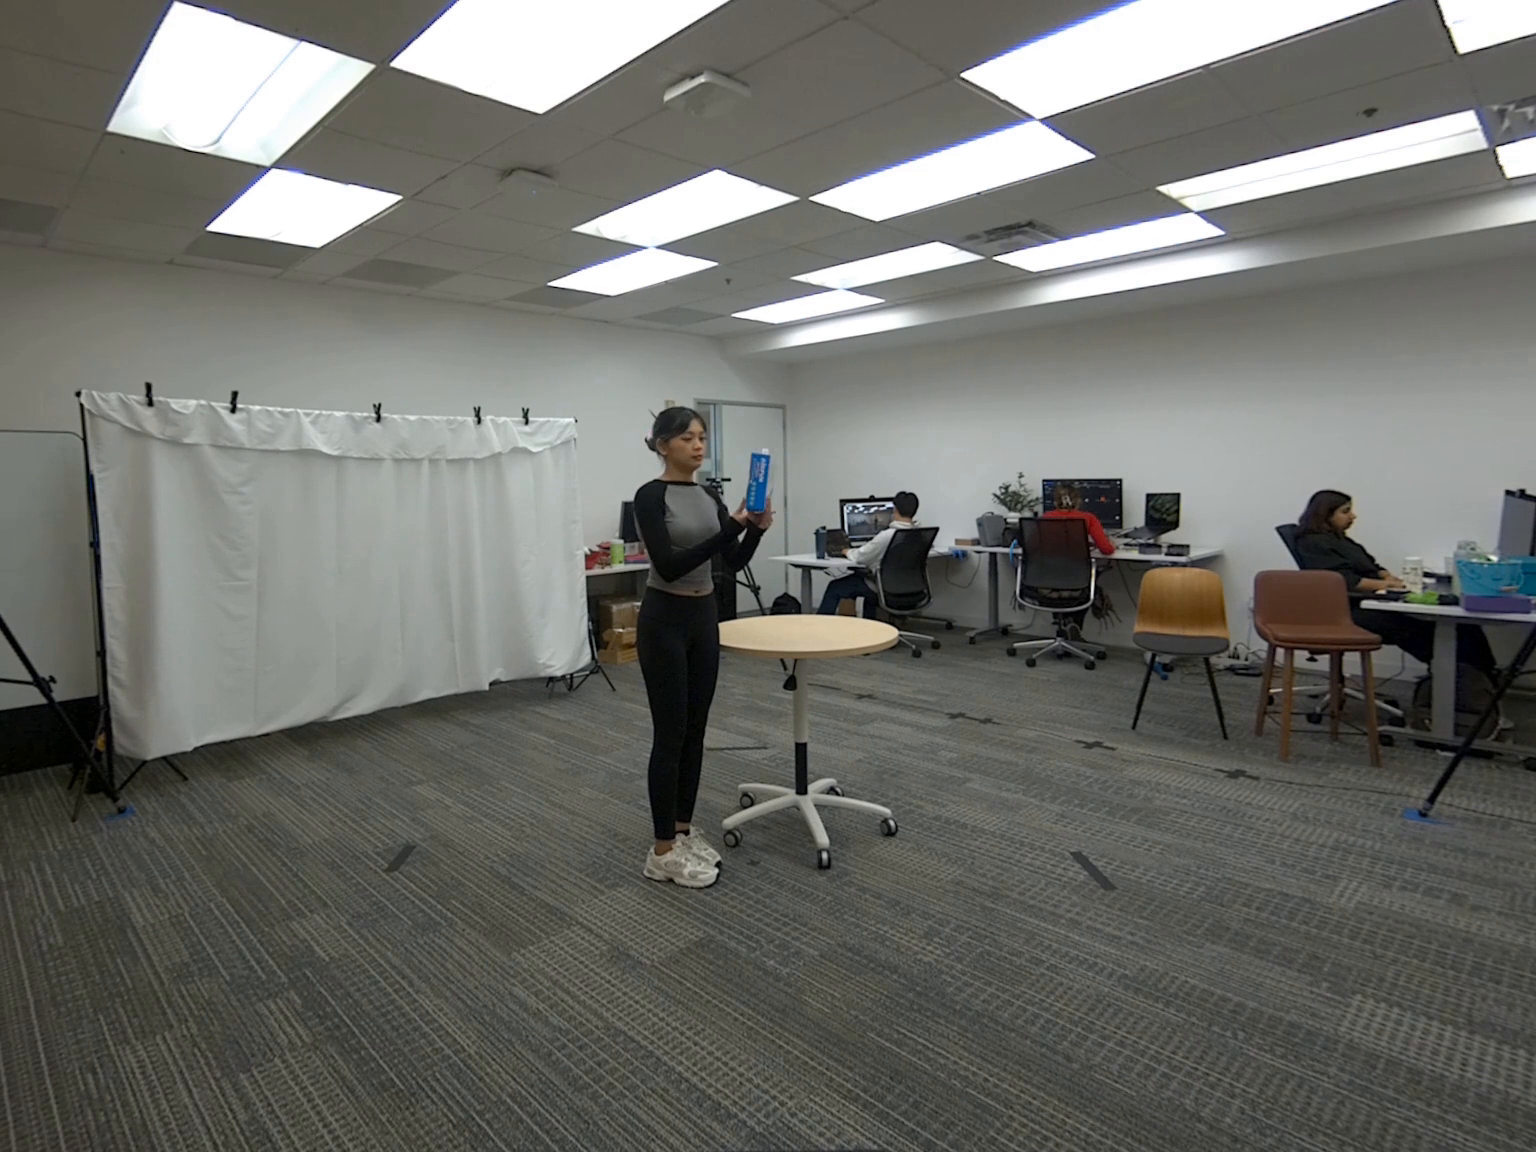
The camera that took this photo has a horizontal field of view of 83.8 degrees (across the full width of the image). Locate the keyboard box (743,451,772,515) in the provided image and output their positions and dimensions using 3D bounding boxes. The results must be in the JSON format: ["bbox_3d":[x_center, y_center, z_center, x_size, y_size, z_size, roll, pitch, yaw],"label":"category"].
[{"bbox_3d":[-0.018,-0.301,2.809,0.059,0.176,0.436,5,3,2],"label":"keyboard box"}]
